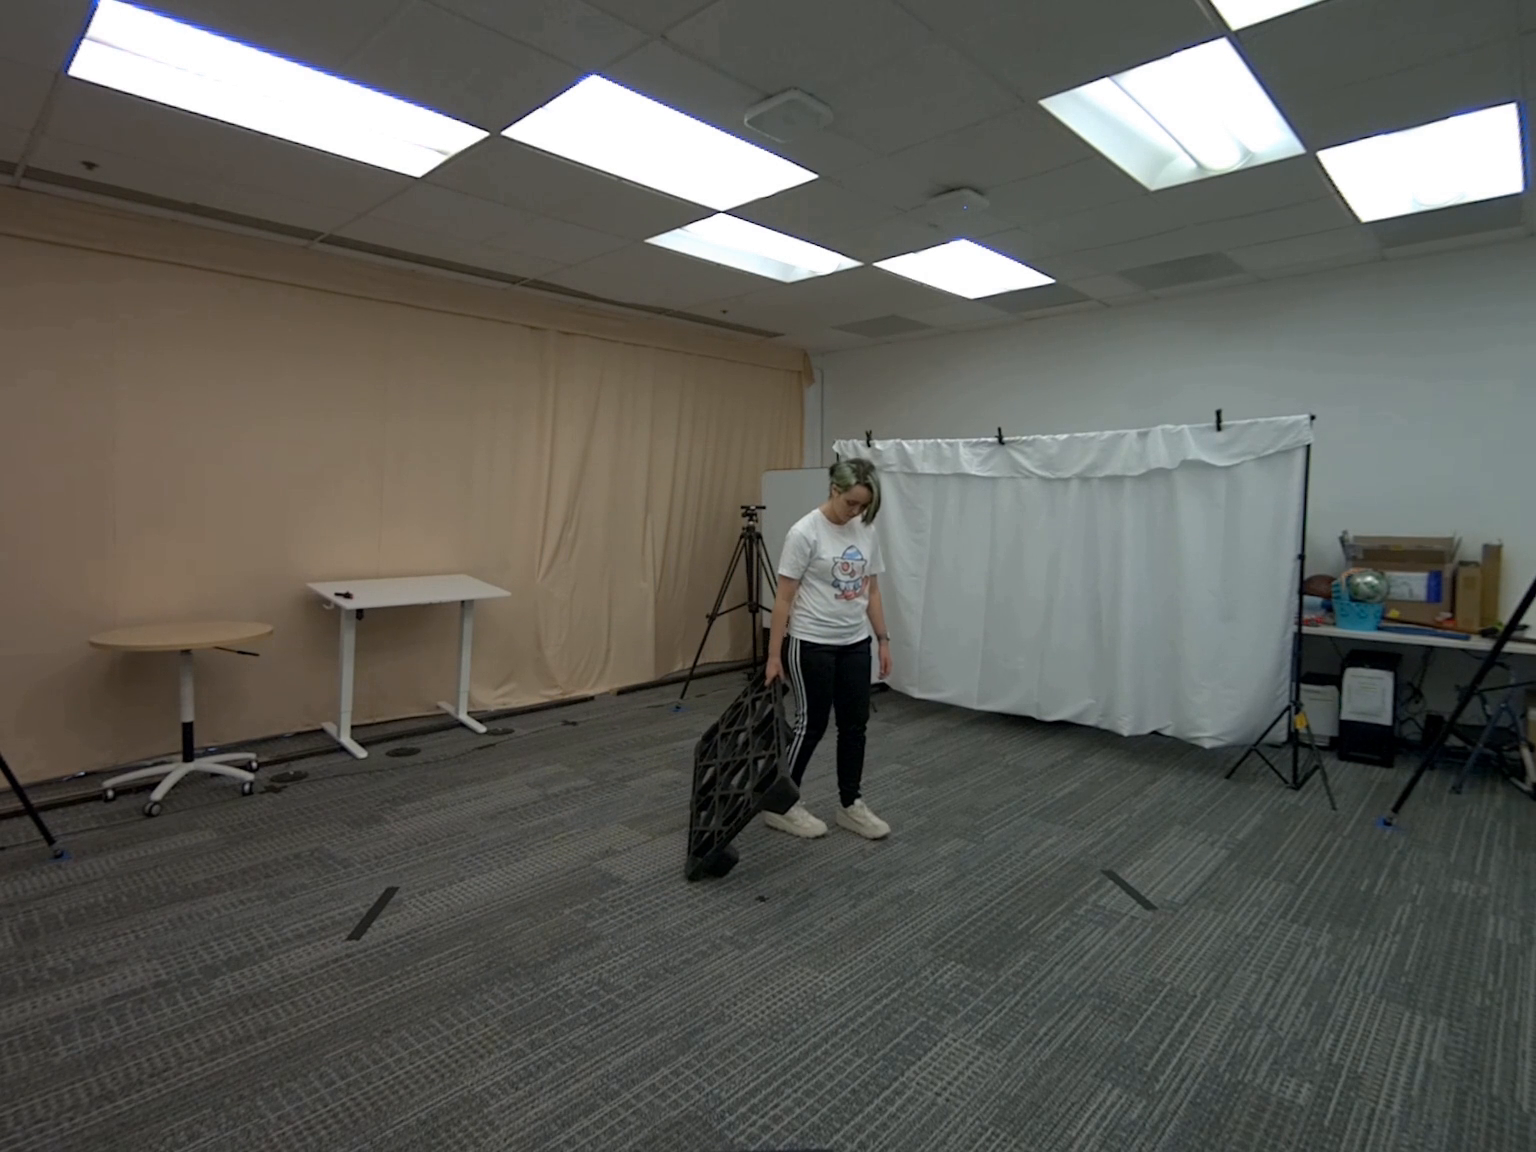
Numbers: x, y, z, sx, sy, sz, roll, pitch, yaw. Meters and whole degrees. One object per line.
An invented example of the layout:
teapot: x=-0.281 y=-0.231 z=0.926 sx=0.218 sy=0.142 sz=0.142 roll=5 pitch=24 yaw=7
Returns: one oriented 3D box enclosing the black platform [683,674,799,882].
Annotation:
black platform: x=-0.093 y=0.767 z=3.388 sx=0.141 sy=0.607 sz=0.816 roll=33 pitch=21 yaw=-15
